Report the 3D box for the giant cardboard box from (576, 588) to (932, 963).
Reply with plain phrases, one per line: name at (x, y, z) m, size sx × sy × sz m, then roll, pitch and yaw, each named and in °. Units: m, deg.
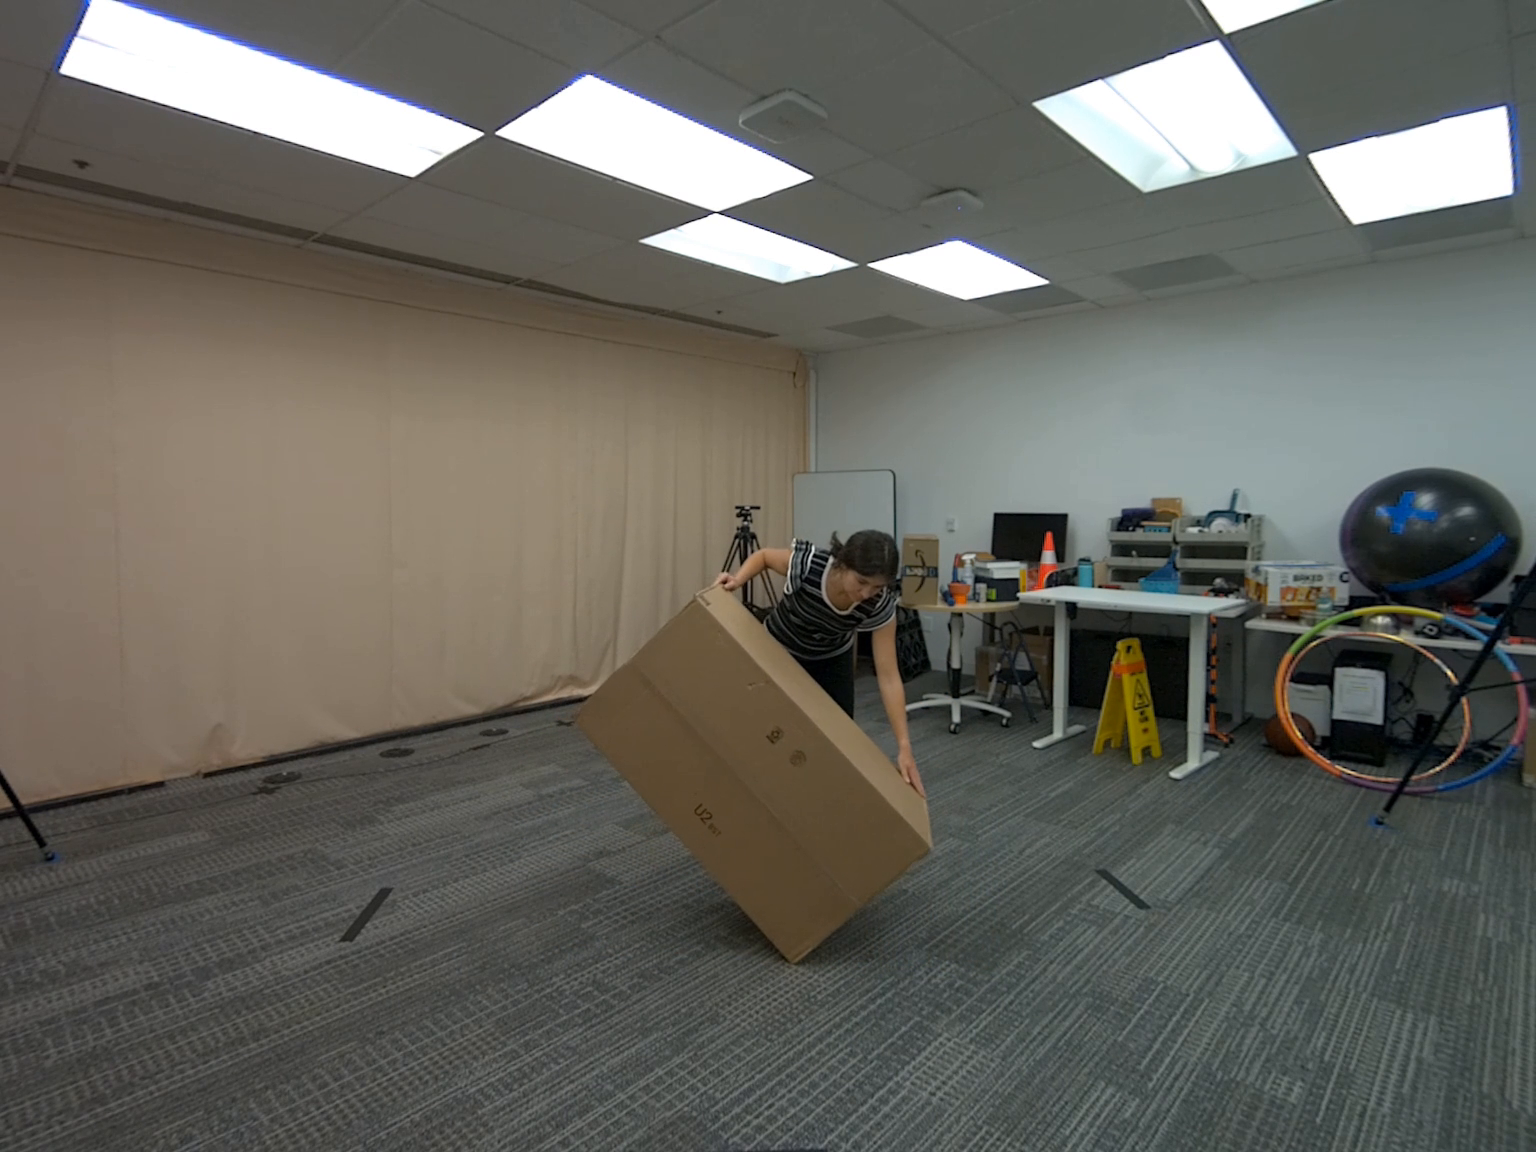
giant cardboard box at (-0.043, 0.604, 2.760) m, size 0.579 × 1.032 × 0.422 m, roll -45°, pitch -5°, yaw 9°
